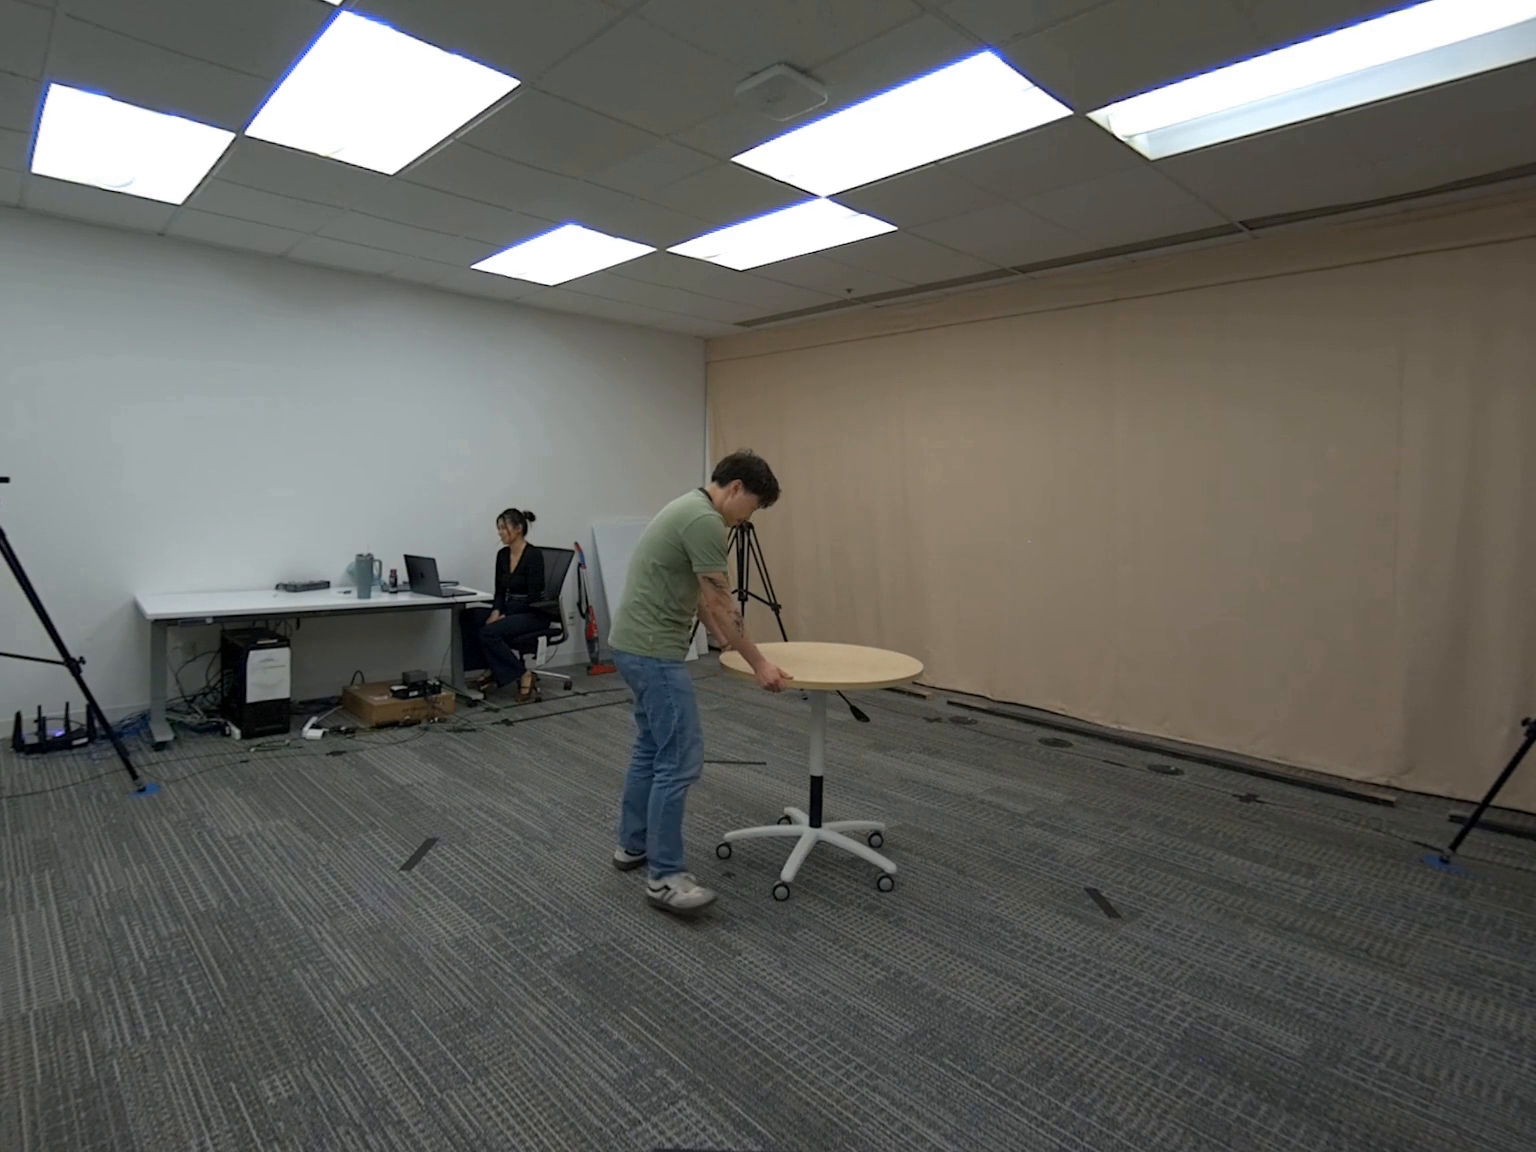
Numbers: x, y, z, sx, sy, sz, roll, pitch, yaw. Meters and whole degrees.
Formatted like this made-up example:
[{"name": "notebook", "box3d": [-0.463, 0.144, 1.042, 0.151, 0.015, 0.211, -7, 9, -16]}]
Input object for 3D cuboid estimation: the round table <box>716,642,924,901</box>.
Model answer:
[{"name": "round table", "box3d": [0.178, 0.711, 3.215, 0.763, 0.792, 0.767, 2, 4, -1]}]
